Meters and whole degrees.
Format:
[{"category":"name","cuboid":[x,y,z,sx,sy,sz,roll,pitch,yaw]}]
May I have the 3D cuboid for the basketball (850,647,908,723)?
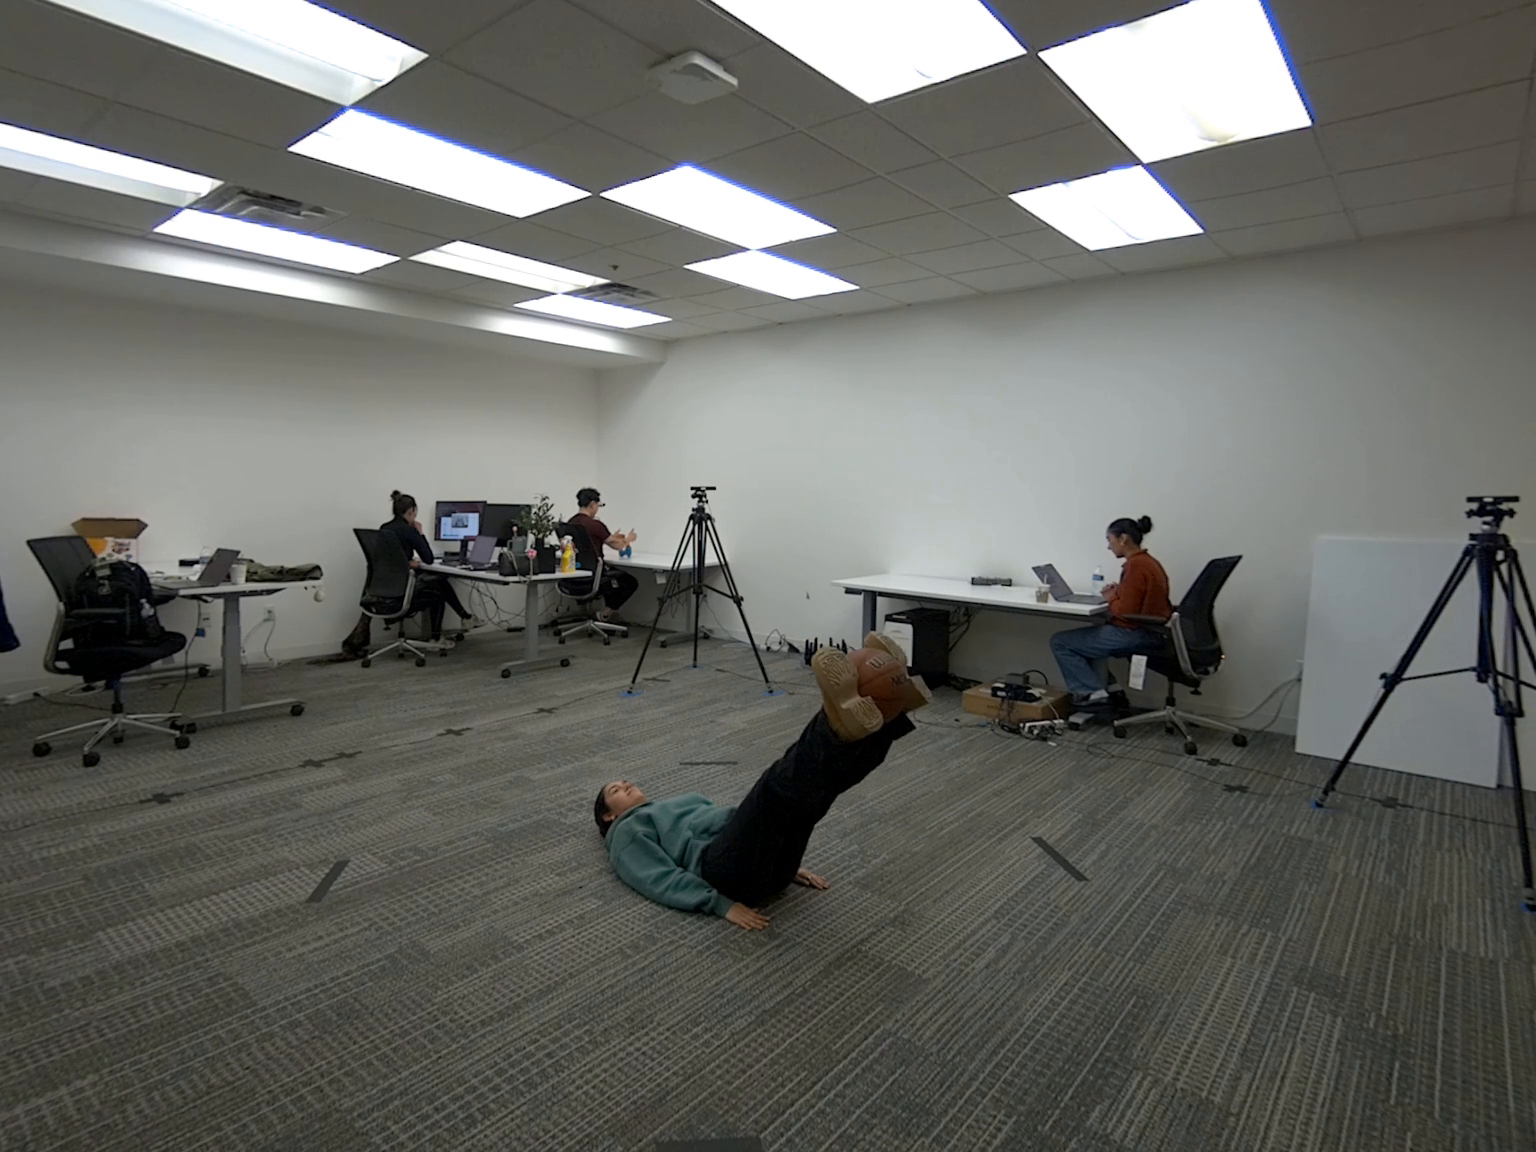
[{"category":"basketball","cuboid":[0.302,0.337,2.592,0.236,0.235,0.237,0,4,-2]}]
